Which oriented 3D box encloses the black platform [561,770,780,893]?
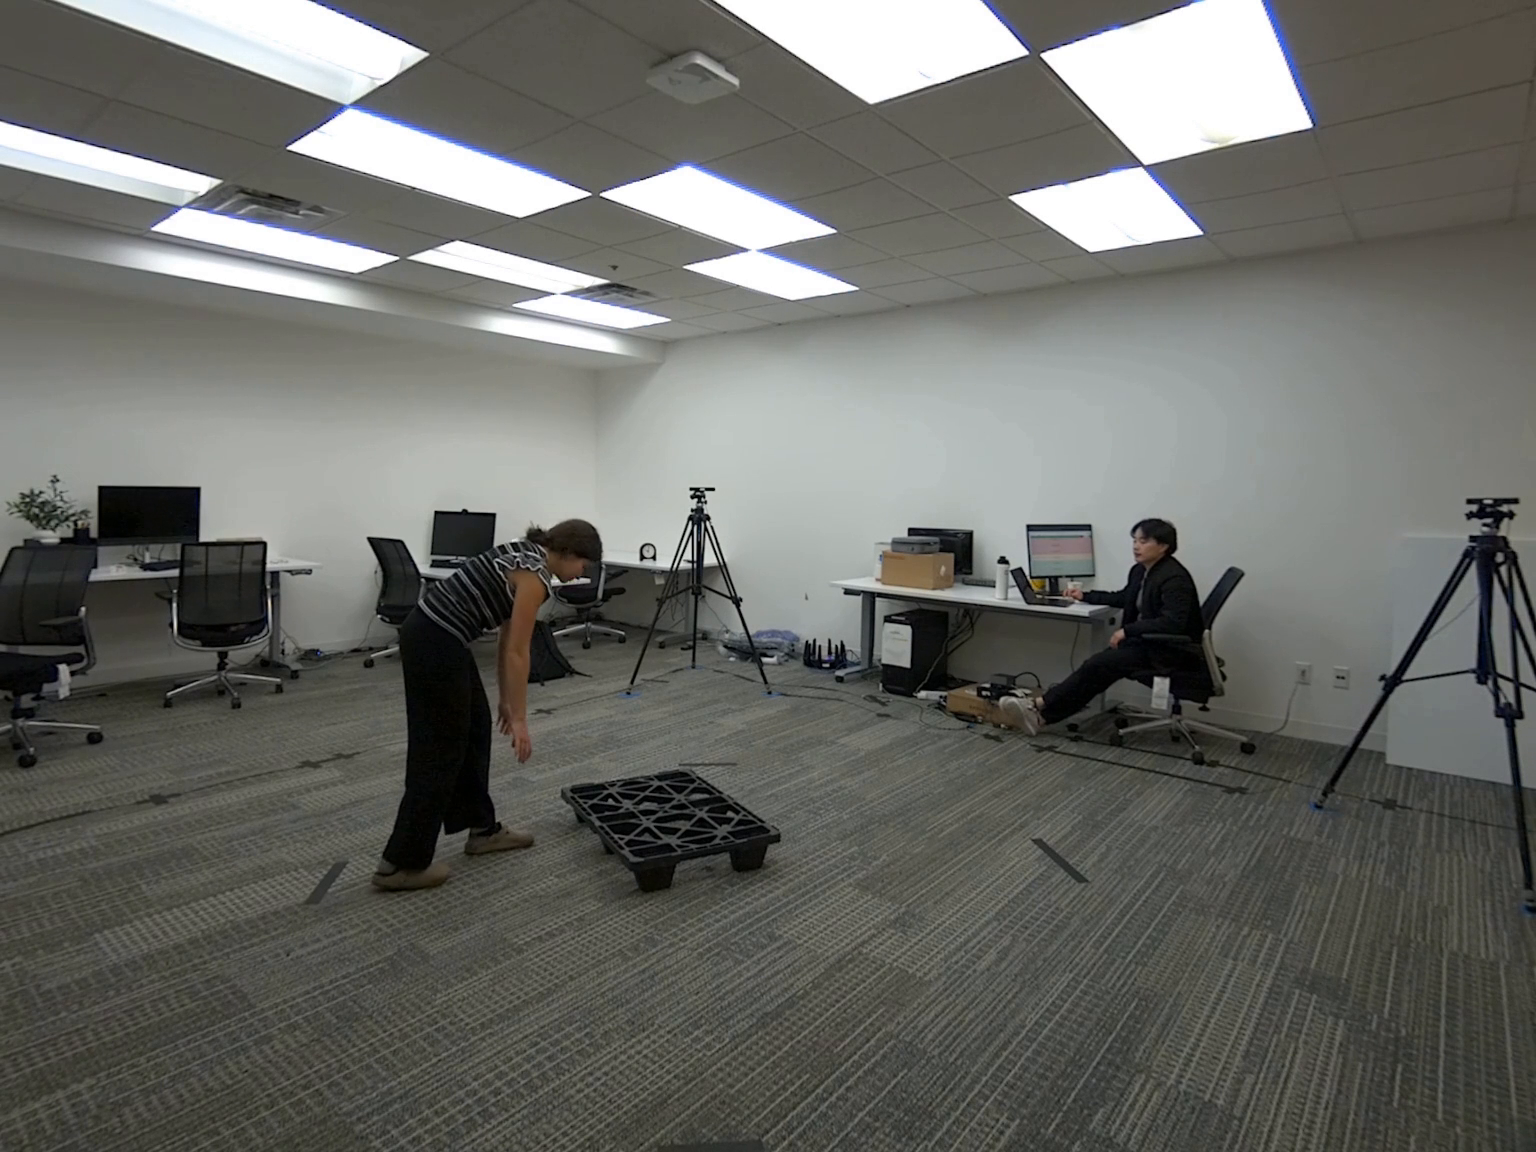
[{"bbox_3d":[-0.419,0.973,3.338,0.589,0.143,0.830,-2,6,-29],"label":"black platform"}]
